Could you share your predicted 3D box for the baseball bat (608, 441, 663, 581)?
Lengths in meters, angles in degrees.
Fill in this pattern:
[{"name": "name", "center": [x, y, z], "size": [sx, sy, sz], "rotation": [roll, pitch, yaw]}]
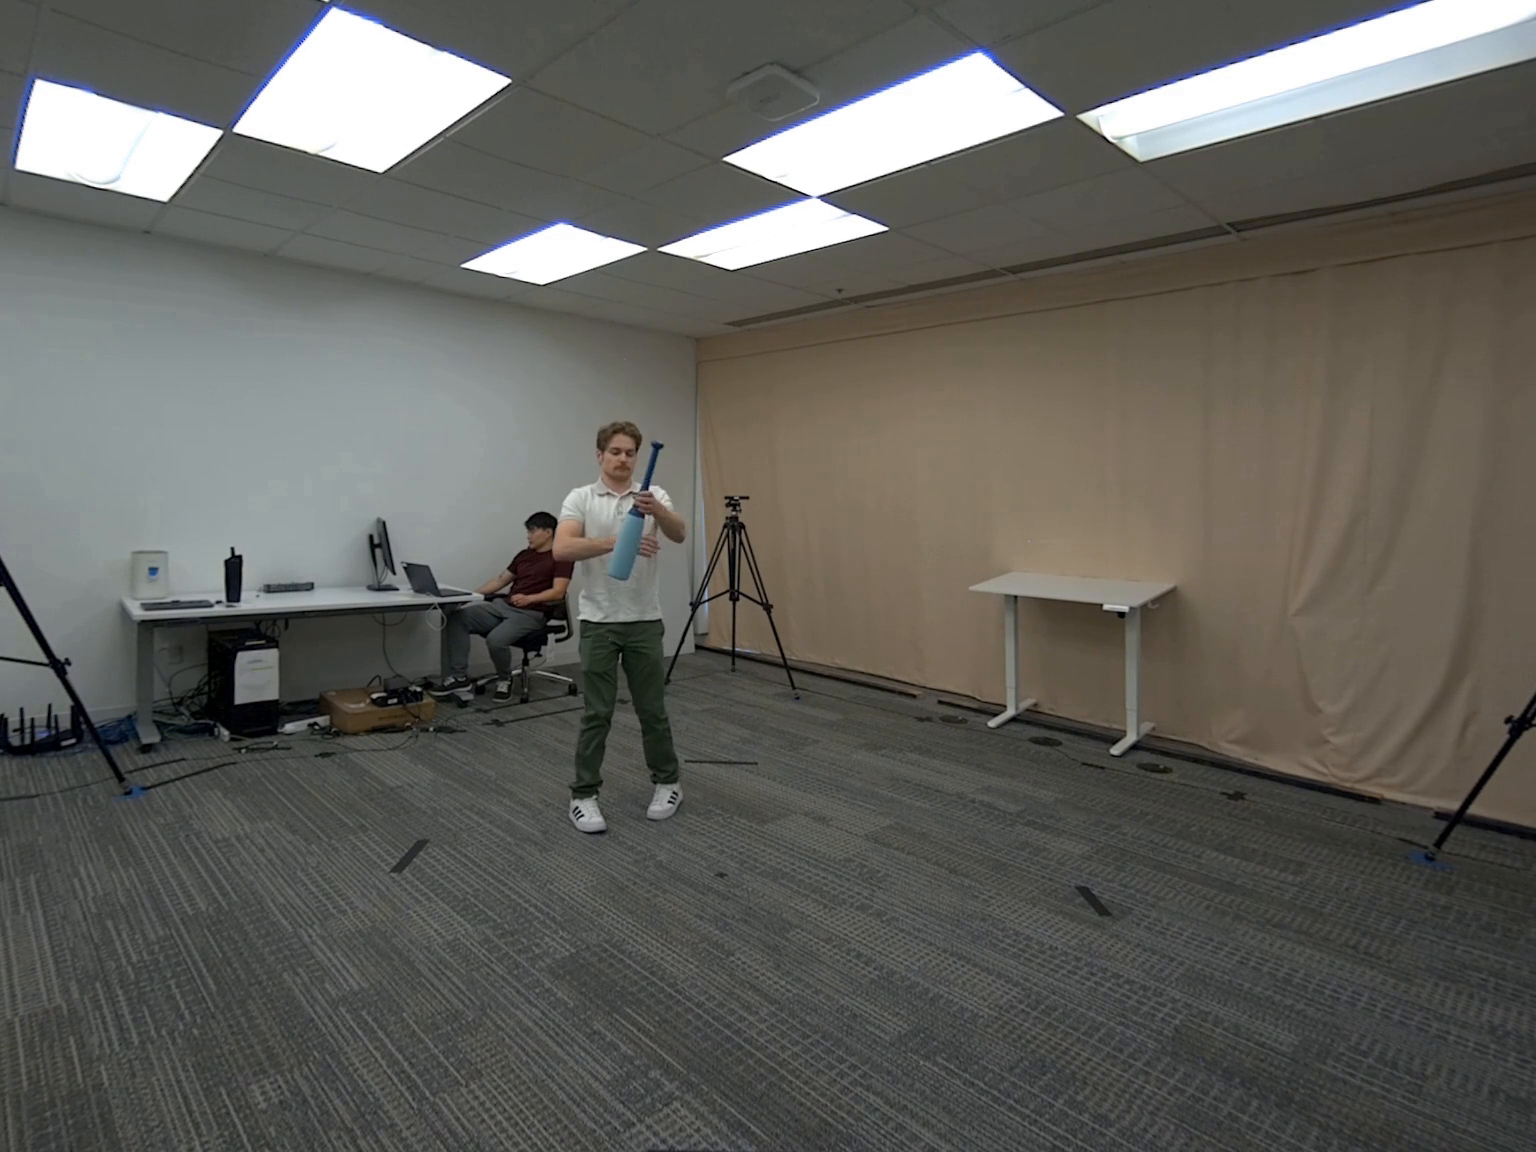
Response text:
[{"name": "baseball bat", "center": [-0.499, -0.249, 3.180], "size": [0.089, 0.541, 0.090], "rotation": [17, 8, -4]}]
